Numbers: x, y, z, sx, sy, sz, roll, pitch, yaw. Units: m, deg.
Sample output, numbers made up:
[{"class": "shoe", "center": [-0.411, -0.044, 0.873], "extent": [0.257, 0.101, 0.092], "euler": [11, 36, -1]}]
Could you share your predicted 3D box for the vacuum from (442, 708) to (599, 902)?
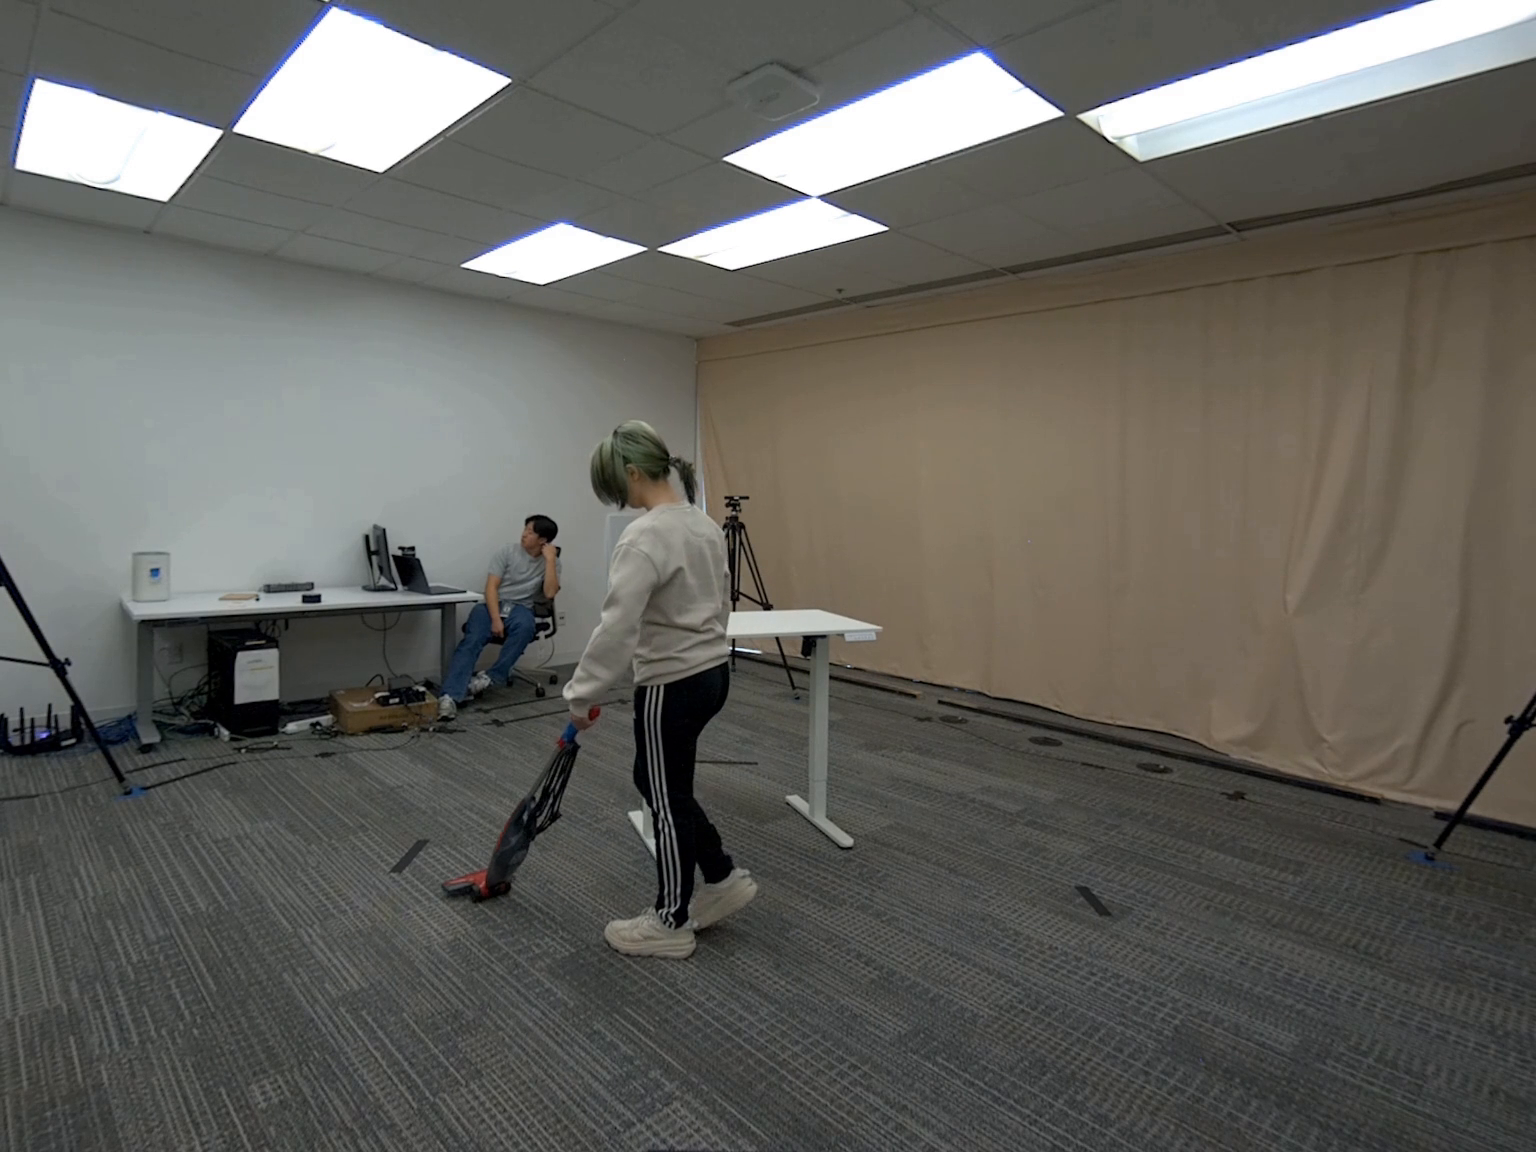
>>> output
[{"class": "vacuum", "center": [-0.751, 0.739, 2.648], "extent": [0.248, 1.044, 0.147], "euler": [-15, 59, -47]}]
